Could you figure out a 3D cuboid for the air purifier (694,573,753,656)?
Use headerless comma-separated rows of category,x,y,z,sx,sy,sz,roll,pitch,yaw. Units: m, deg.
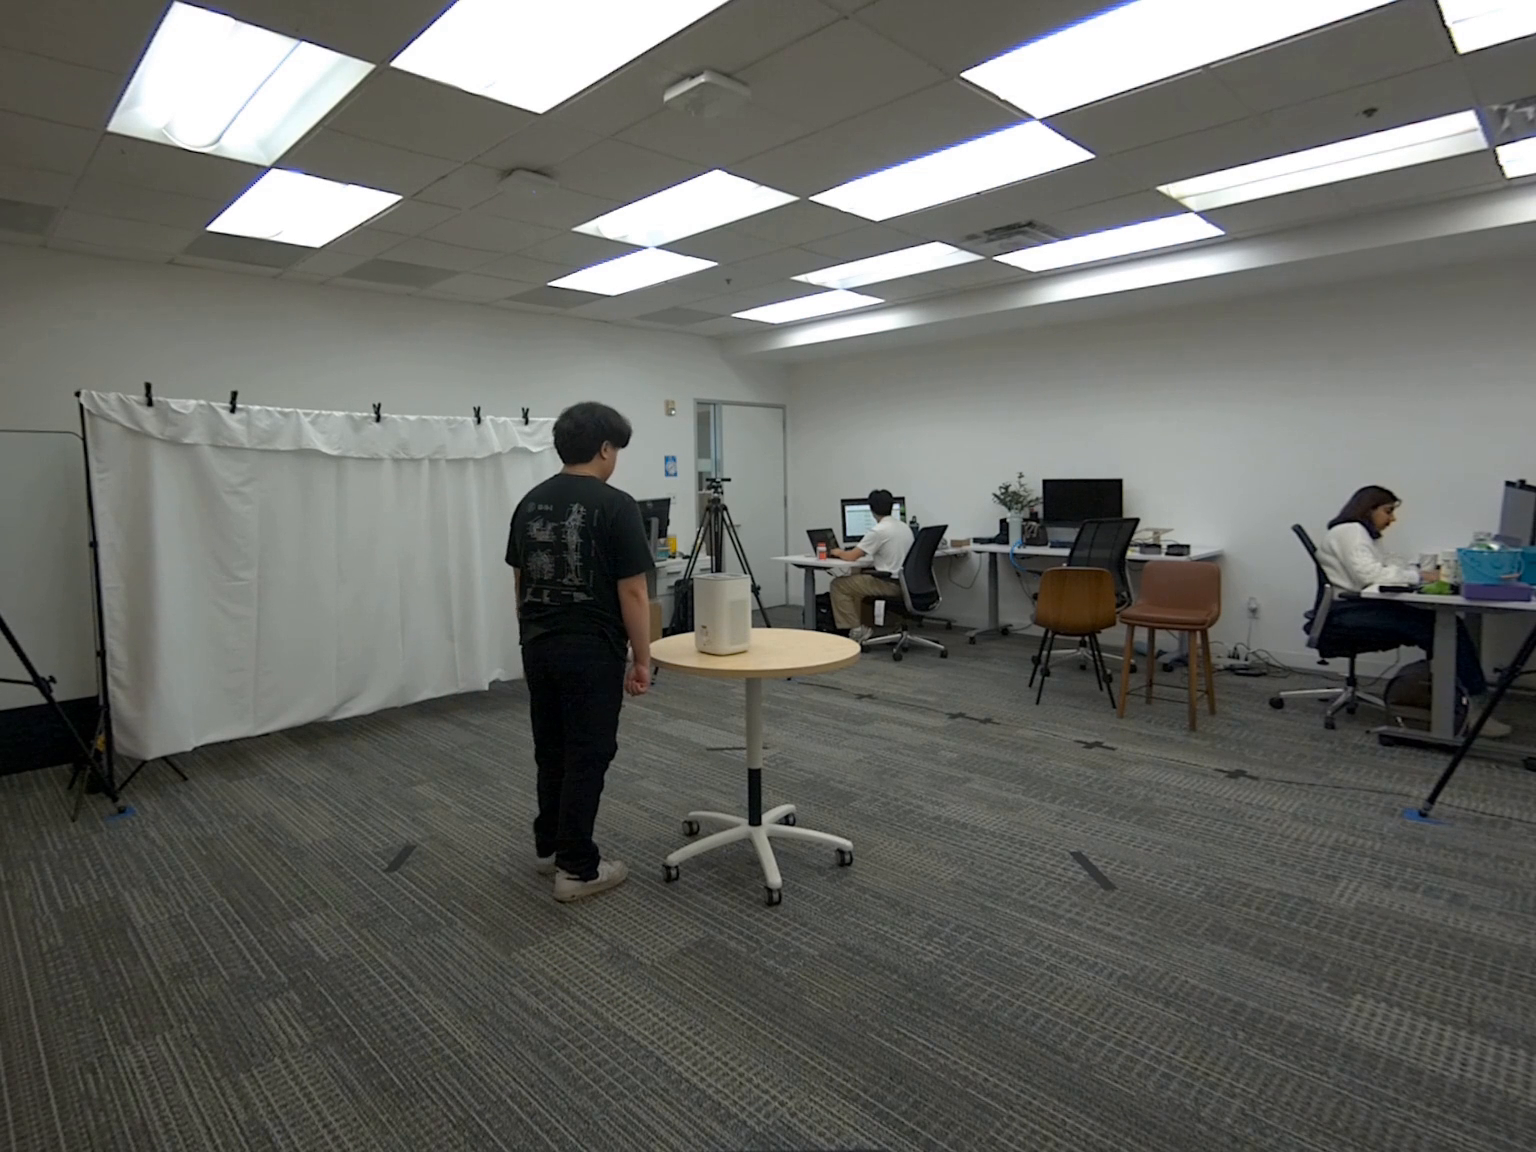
air purifier,-0.155,0.128,2.978,0.176,0.264,0.167,5,7,44
